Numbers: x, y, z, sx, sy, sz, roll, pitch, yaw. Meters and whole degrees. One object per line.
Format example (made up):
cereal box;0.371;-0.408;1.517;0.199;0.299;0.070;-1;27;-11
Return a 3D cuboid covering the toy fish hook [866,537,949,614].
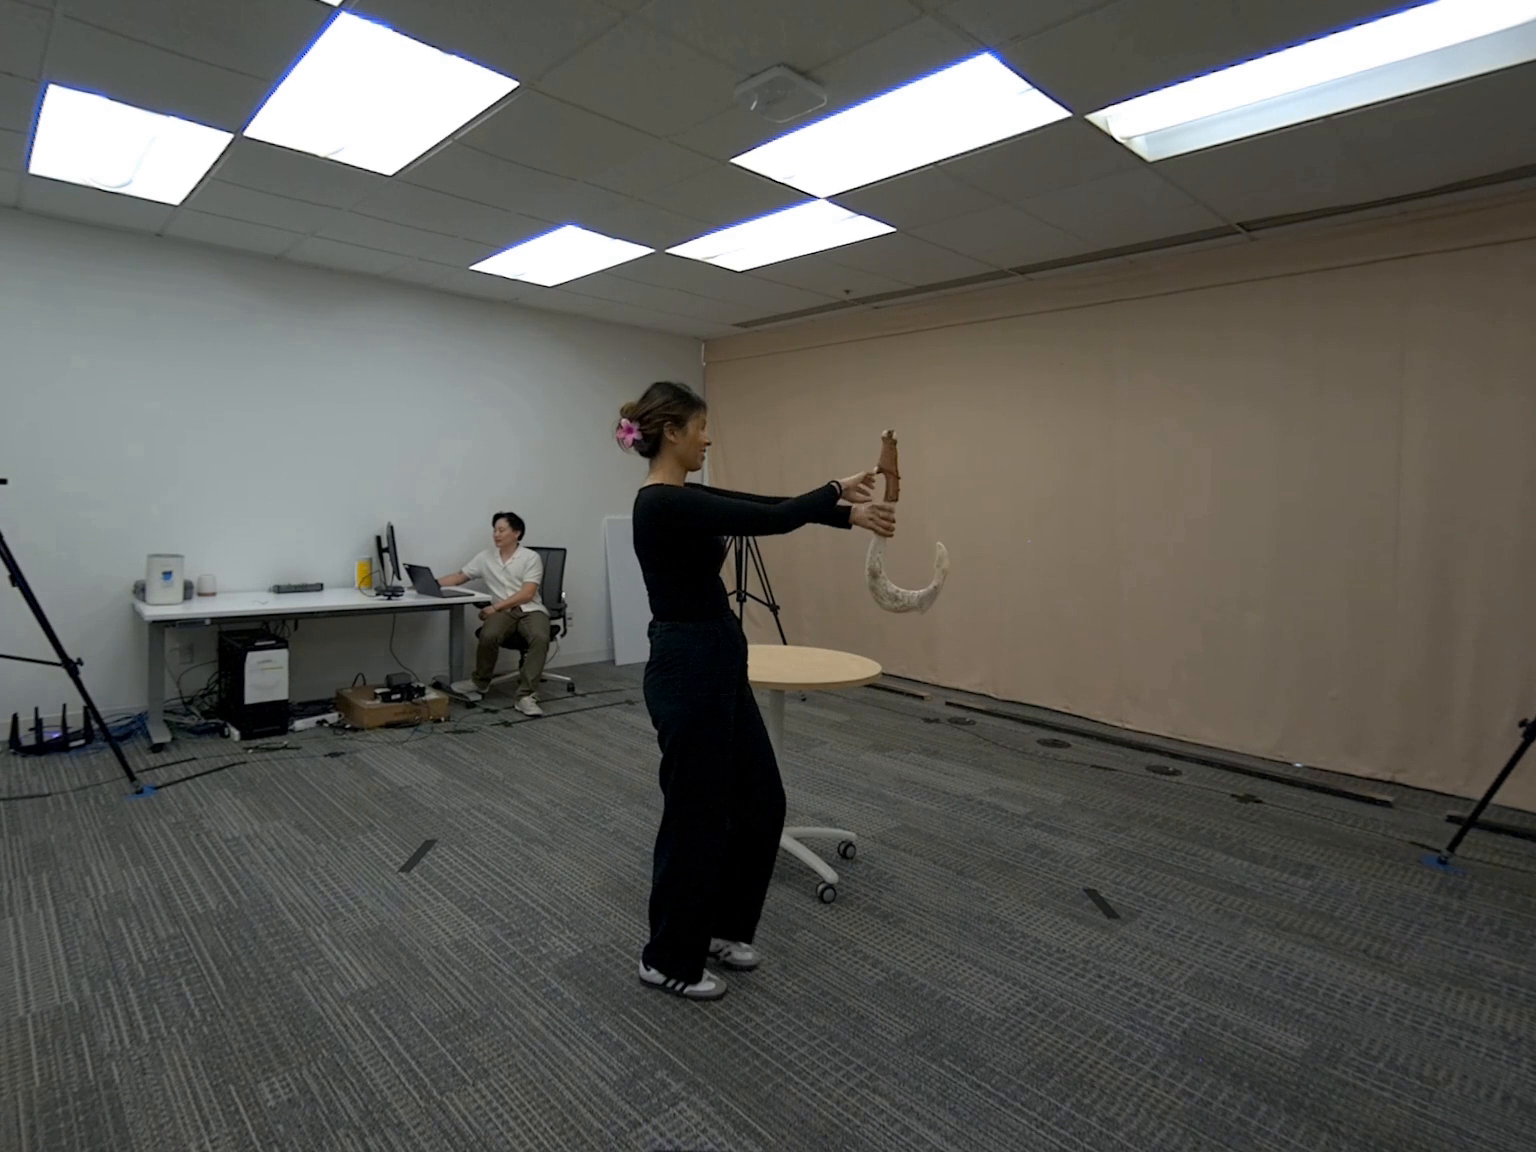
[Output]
toy fish hook;0.371;-0.152;2.308;0.227;0.507;0.048;4;-1;12
